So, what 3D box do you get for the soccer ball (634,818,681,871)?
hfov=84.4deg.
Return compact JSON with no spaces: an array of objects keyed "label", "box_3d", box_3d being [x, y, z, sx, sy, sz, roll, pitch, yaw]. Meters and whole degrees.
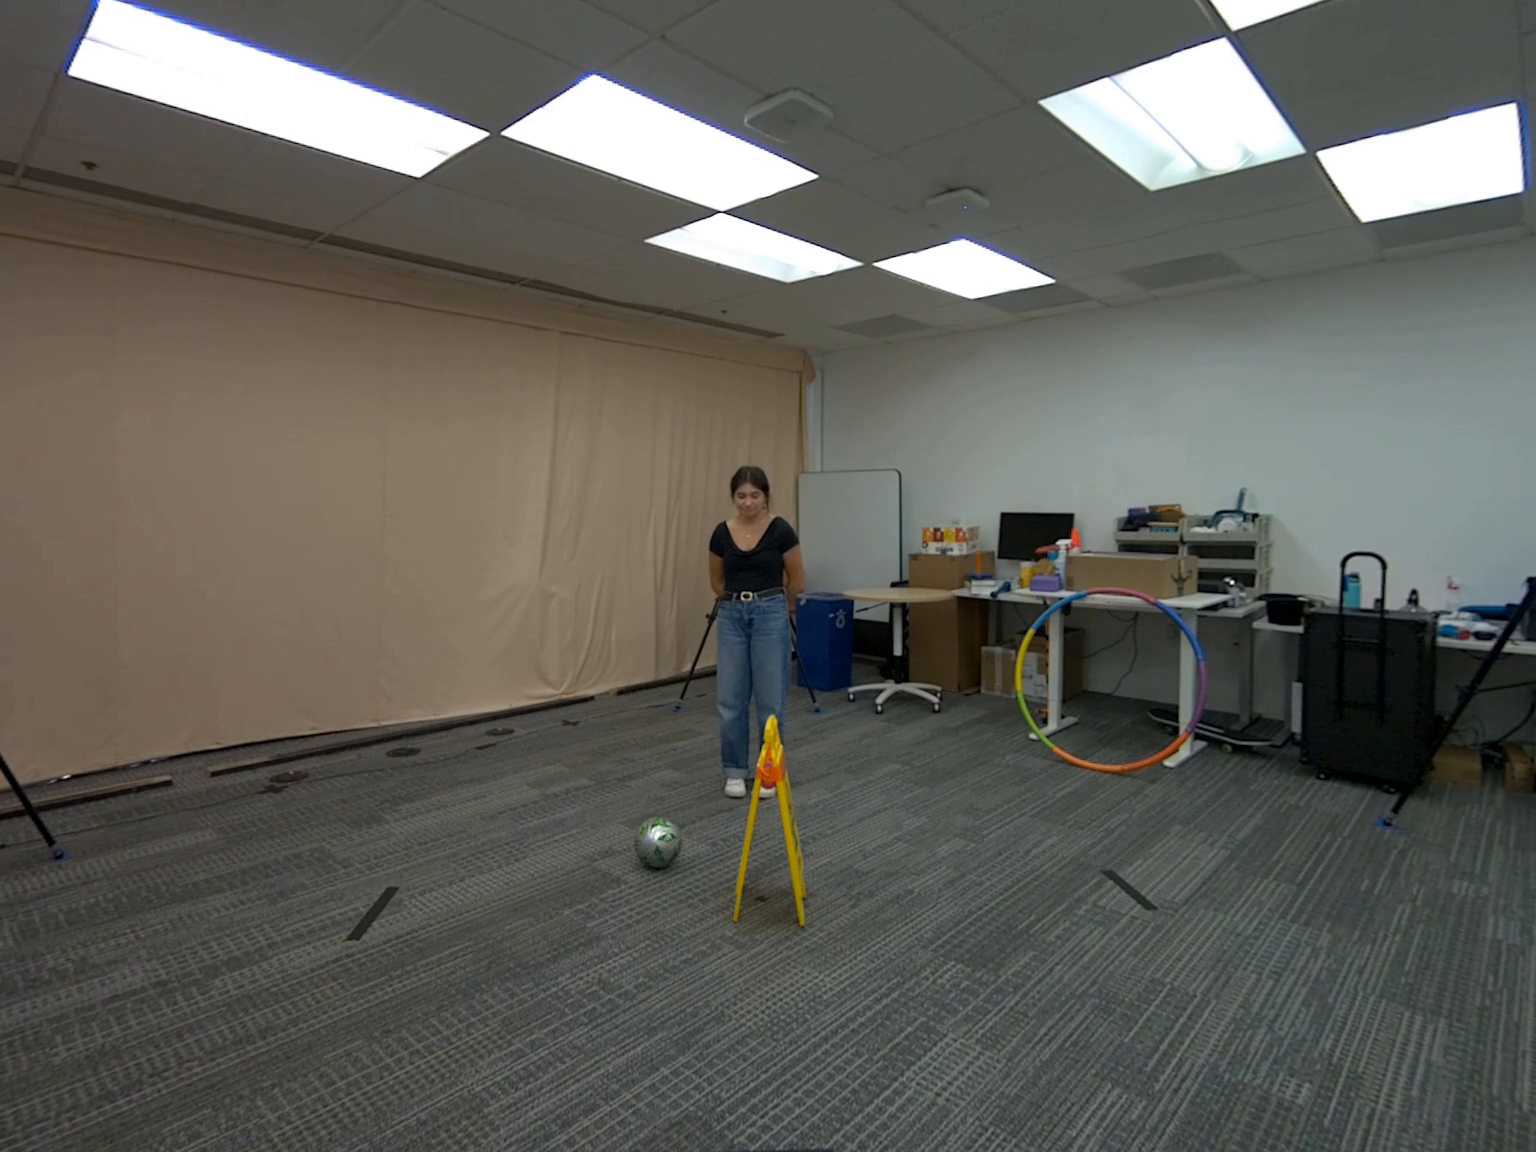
[{"label":"soccer ball","box_3d":[-0.416,1.029,3.255,0.187,0.187,0.188,0,4,-2]}]
